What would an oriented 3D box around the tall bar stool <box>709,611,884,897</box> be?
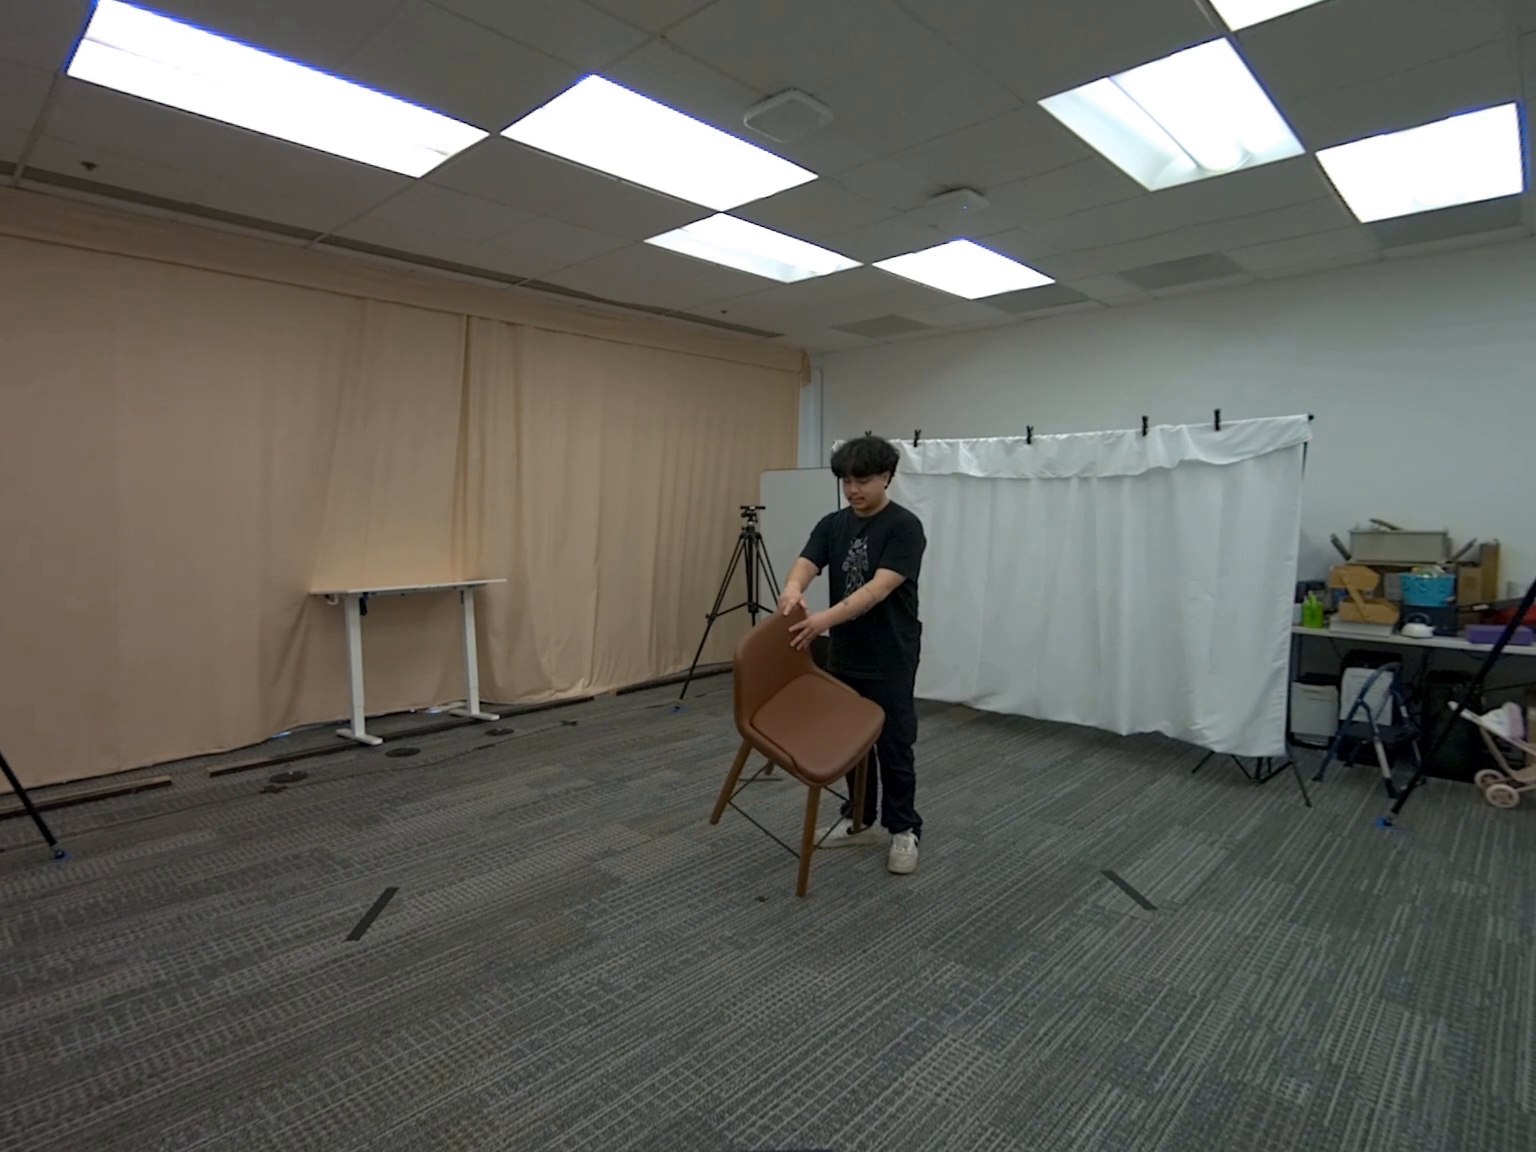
[{"bbox_3d":[0.117,0.617,3.007,0.483,0.878,0.448,27,37,29],"label":"tall bar stool"}]
